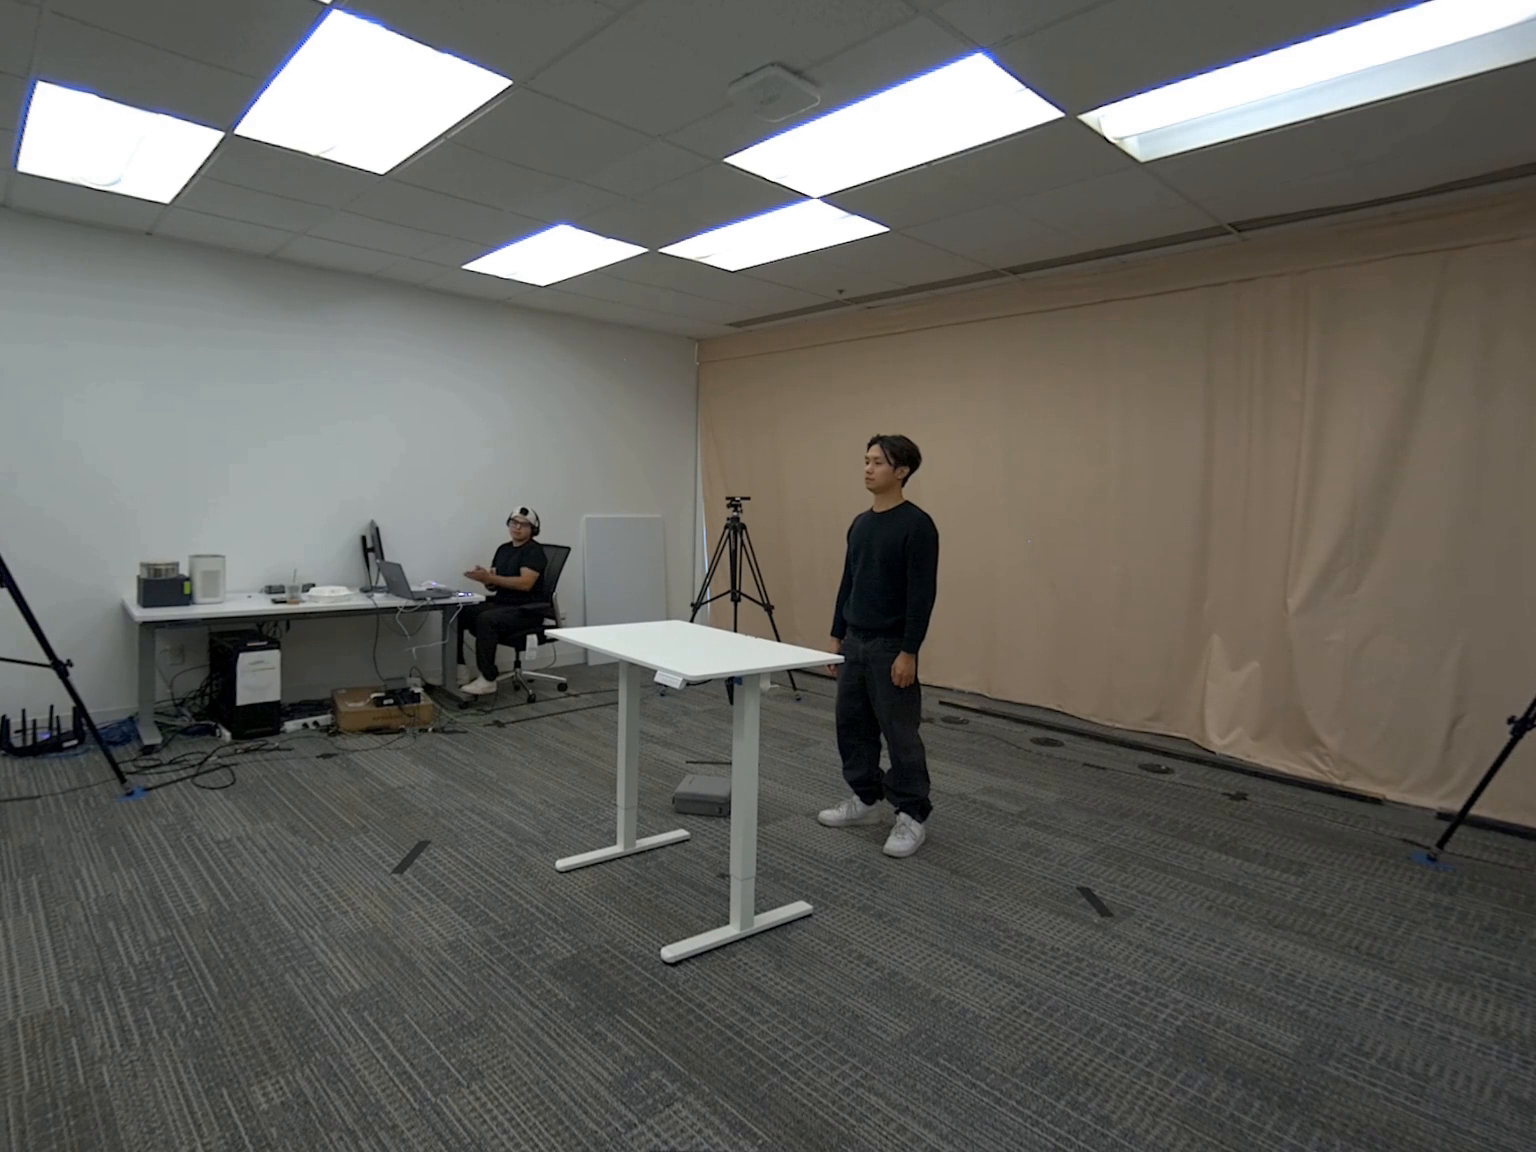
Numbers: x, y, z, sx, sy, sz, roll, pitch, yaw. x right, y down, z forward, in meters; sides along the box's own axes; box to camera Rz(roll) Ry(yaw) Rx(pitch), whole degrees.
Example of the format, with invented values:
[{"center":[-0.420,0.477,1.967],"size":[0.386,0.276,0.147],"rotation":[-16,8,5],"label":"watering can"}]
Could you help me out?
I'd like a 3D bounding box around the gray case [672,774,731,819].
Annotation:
[{"center":[-0.282,0.977,3.804],"size":[0.263,0.104,0.255],"rotation":[2,4,10],"label":"gray case"}]
